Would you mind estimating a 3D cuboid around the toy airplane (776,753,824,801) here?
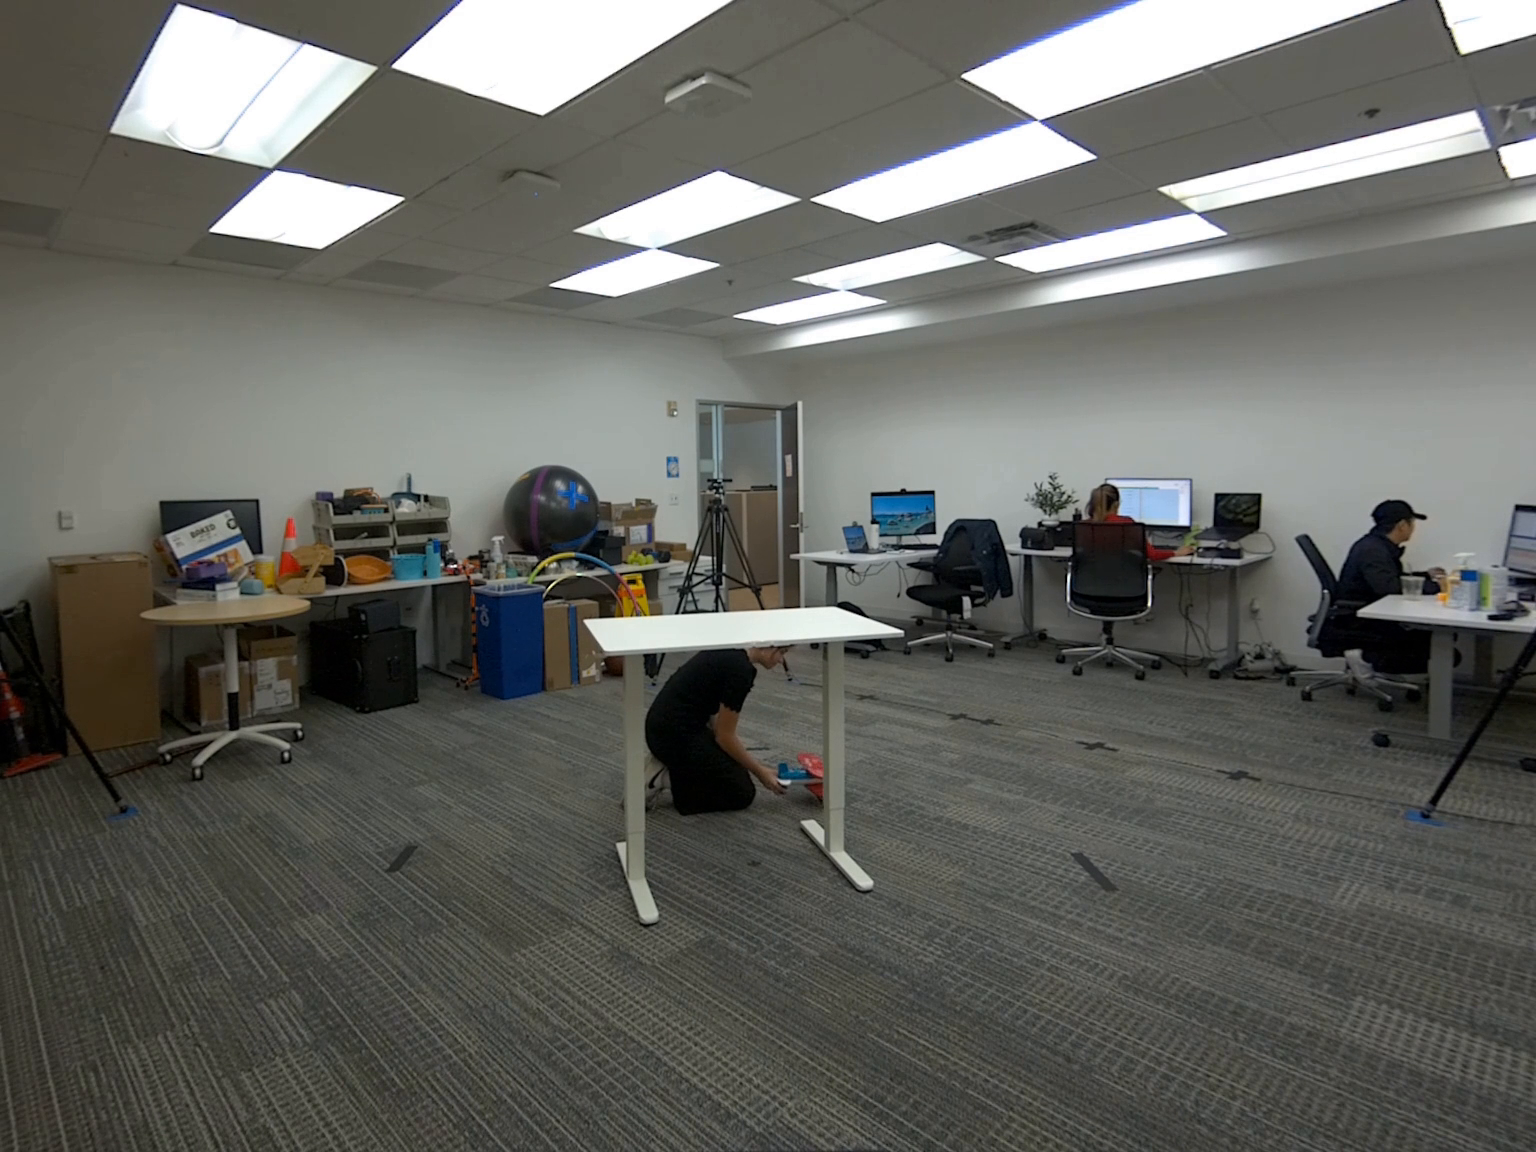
[{"bbox_3d":[0.161,0.869,3.664,0.260,0.156,0.250,18,5,42],"label":"toy airplane"}]
